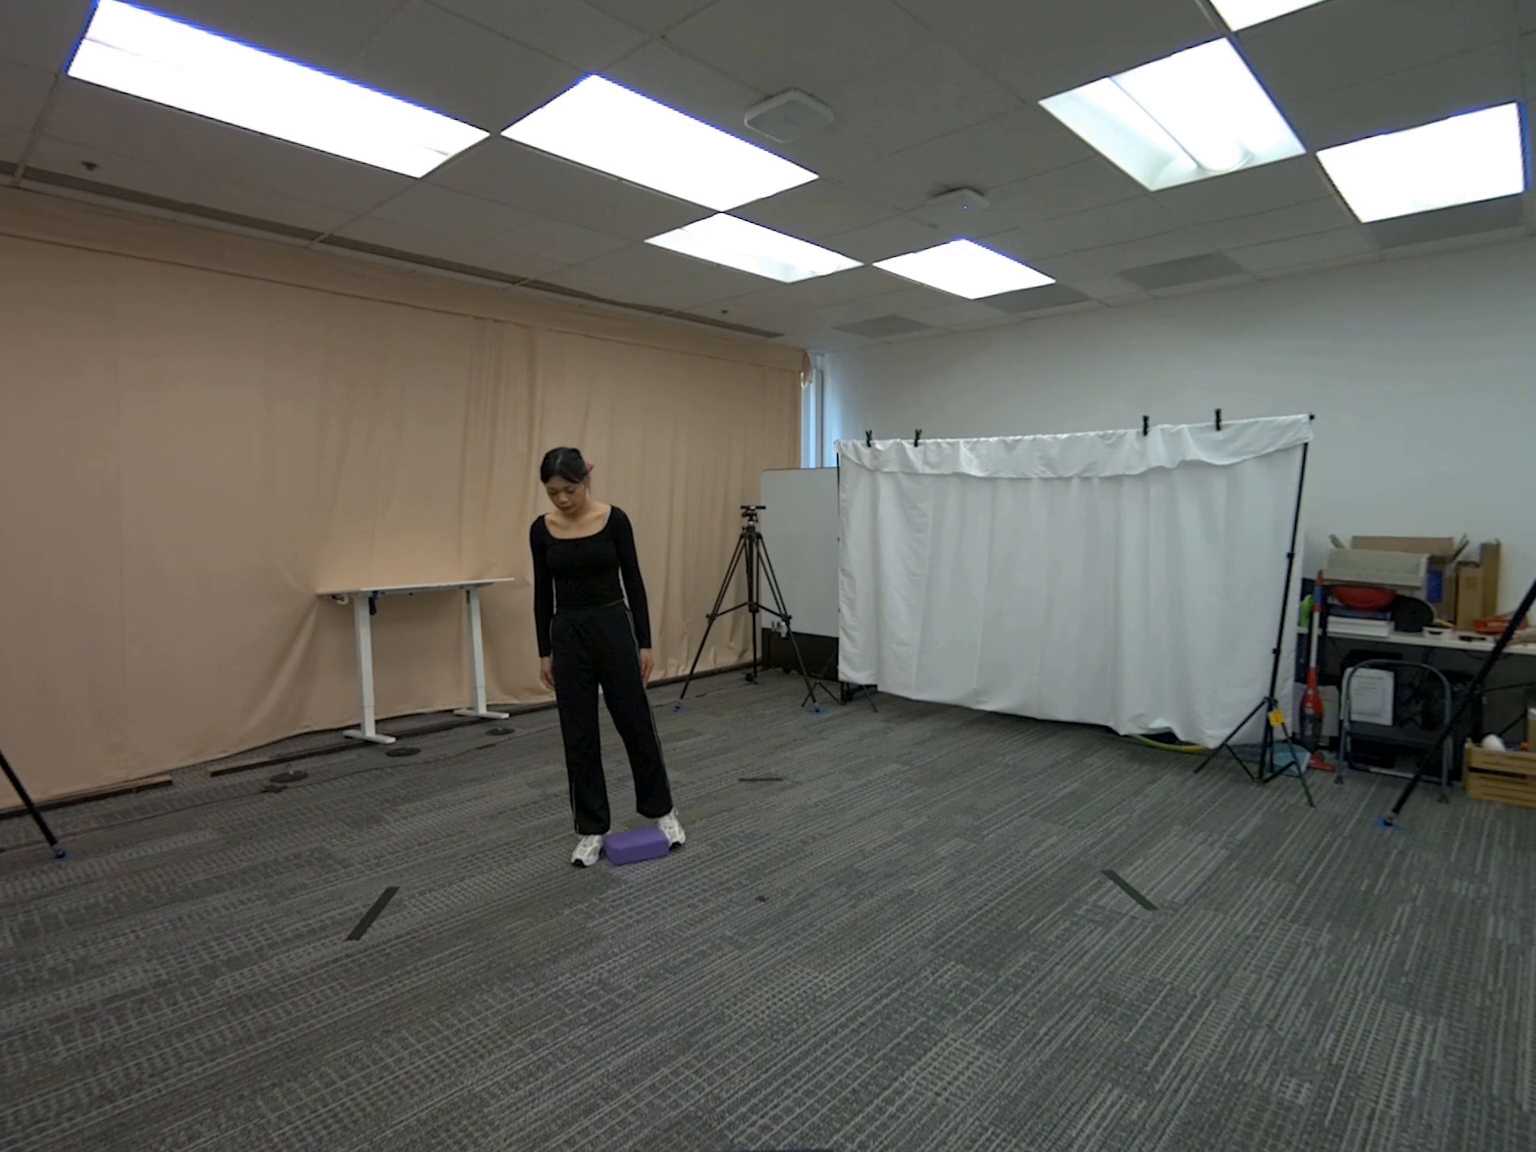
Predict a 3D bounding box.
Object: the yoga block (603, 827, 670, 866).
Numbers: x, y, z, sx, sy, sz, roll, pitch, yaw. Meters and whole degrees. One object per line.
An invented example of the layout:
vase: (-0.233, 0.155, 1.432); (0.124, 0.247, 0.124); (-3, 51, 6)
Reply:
yoga block: (-0.518, 1.071, 3.366); (0.224, 0.076, 0.153); (-2, 7, -27)
